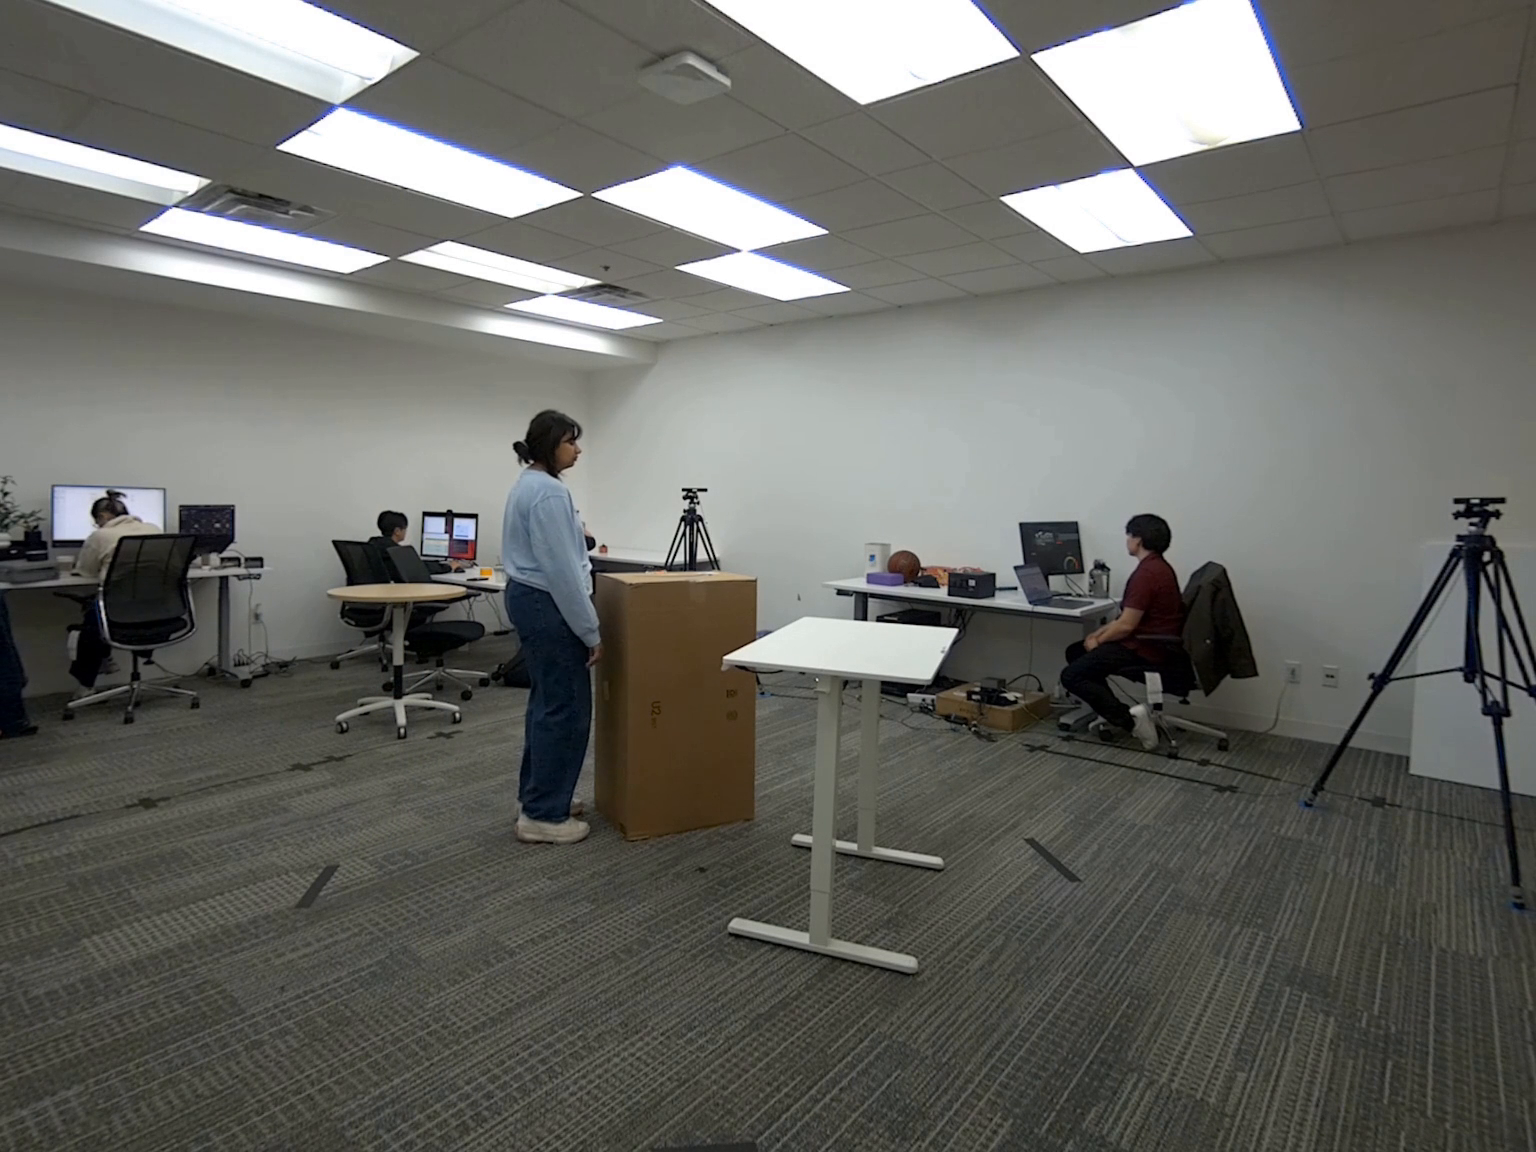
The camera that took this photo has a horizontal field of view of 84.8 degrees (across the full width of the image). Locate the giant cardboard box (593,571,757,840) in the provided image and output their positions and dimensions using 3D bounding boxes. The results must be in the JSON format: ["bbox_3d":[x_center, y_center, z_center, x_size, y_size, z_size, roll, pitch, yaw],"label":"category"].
[{"bbox_3d":[-0.411,0.510,3.637,0.563,1.023,0.438,-1,3,-28],"label":"giant cardboard box"}]
